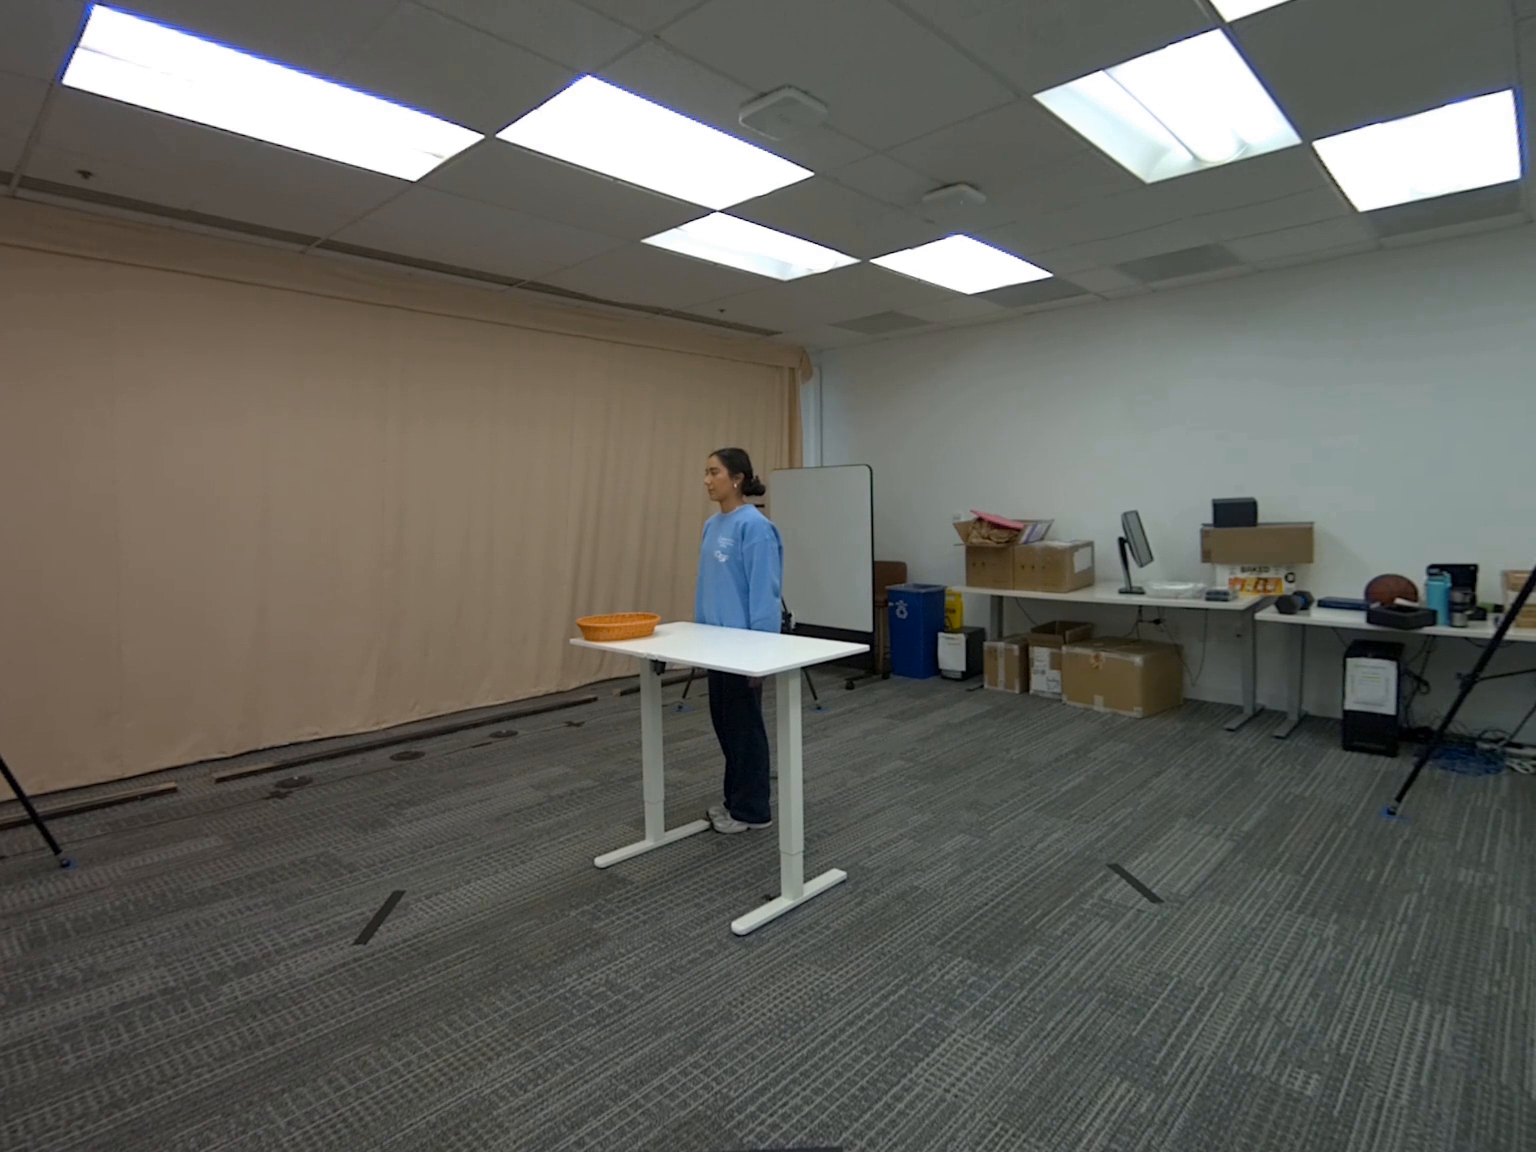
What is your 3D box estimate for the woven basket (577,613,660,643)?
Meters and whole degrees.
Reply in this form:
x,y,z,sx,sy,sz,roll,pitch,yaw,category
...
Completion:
x,y,z,sx,sy,sz,roll,pitch,yaw,category
-0.585,0.210,3.336,0.341,0.073,0.260,-5,7,-34,woven basket
